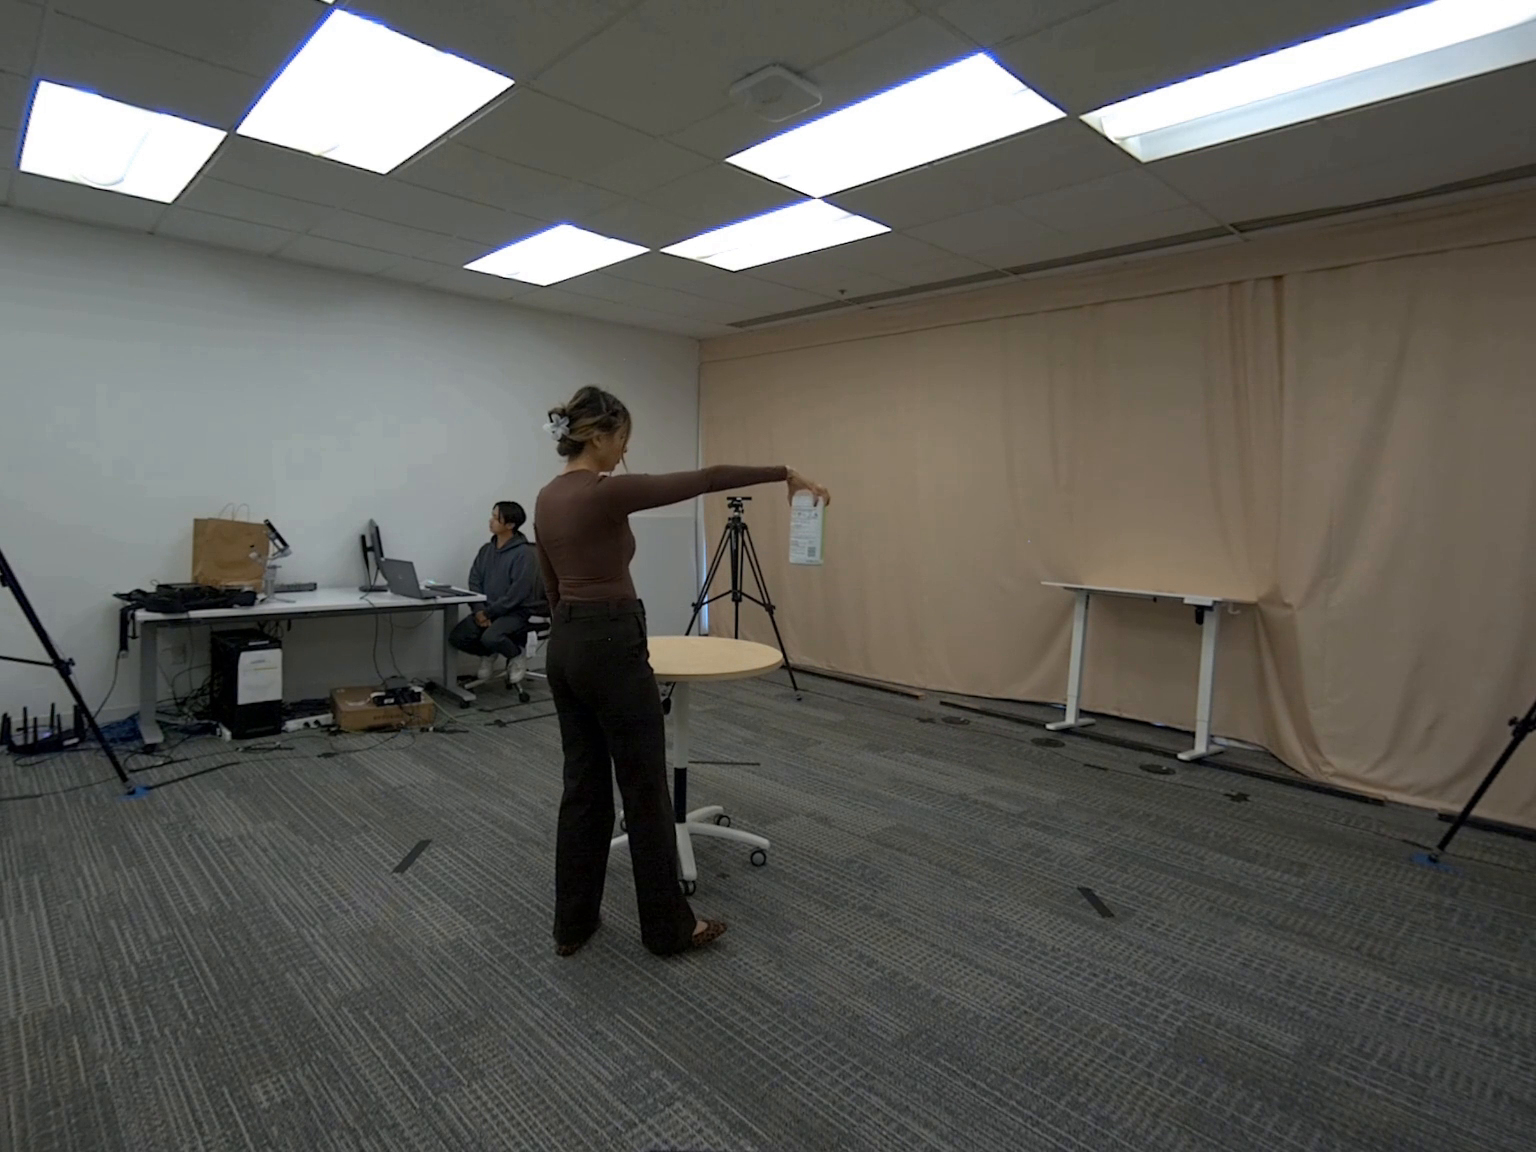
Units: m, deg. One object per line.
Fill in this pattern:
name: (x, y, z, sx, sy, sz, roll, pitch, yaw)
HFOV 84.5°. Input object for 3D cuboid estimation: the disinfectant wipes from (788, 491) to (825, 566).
disinfectant wipes: (0.119, -0.143, 2.647, 0.118, 0.217, 0.118, 3, 3, -2)
